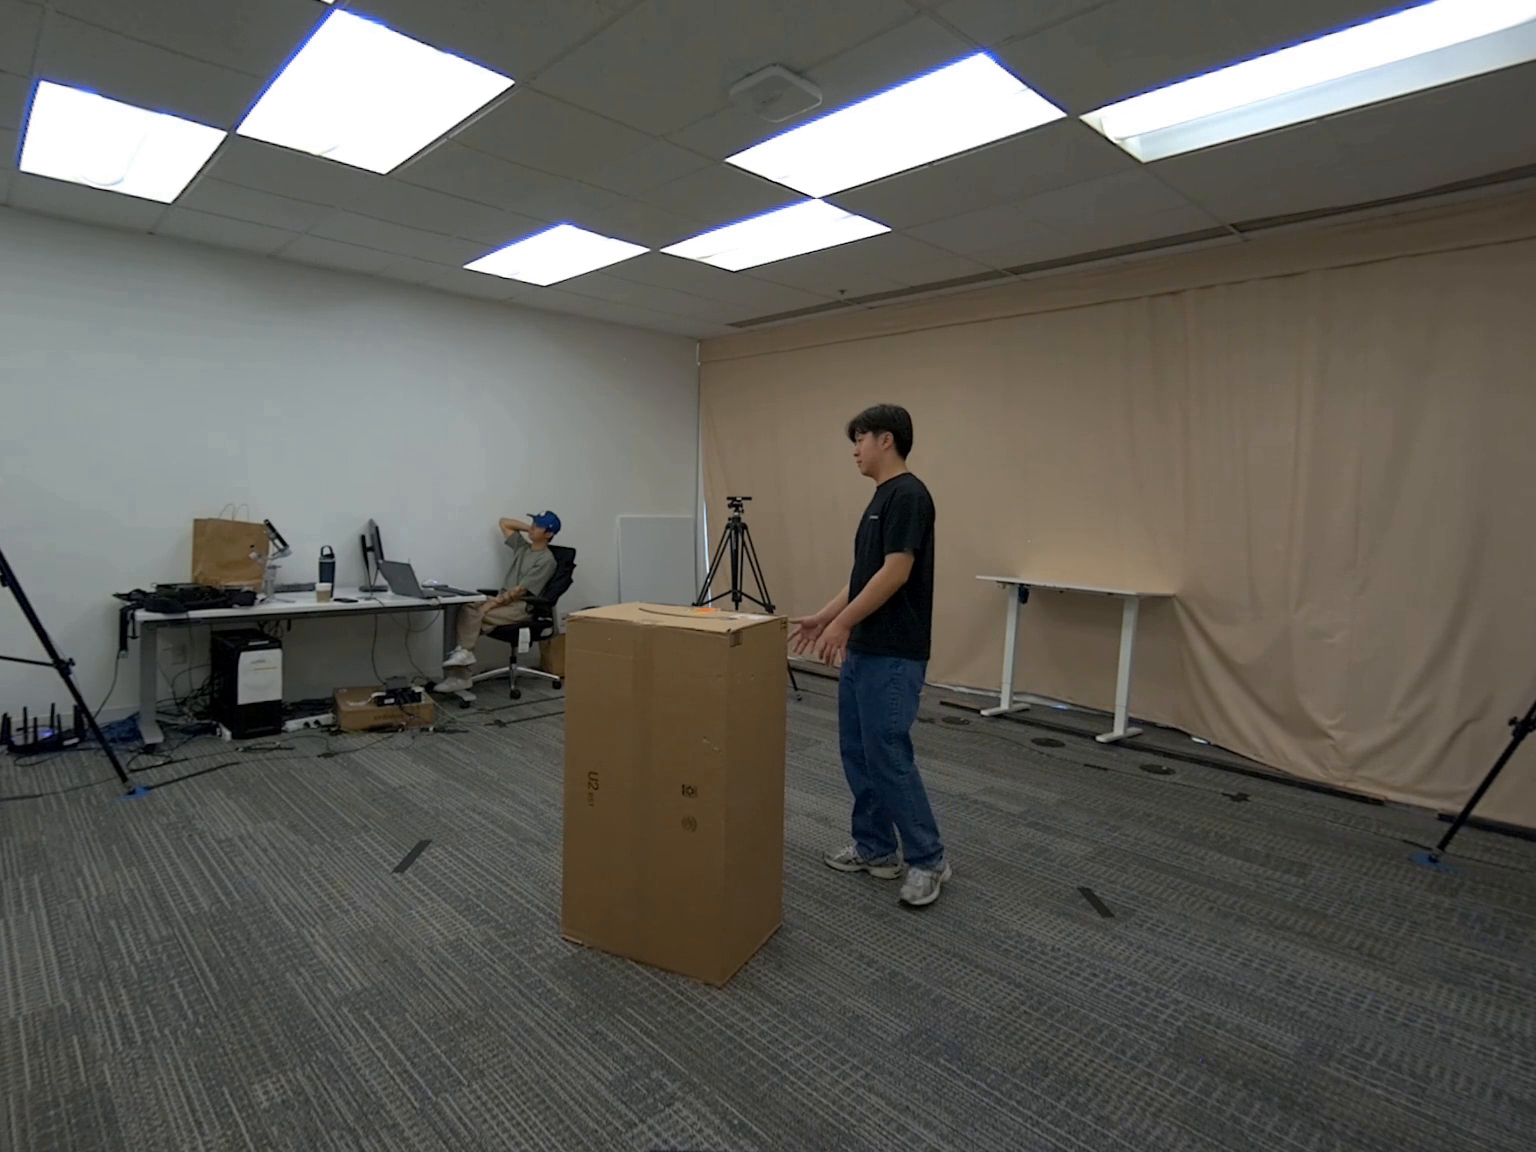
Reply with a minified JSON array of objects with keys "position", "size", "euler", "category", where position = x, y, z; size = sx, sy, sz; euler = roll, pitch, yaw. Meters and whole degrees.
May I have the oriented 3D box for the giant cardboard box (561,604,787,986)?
[{"position":[-0.294,0.631,2.675],"size":[0.596,1.025,0.438],"euler":[3,3,28],"category":"giant cardboard box"}]
